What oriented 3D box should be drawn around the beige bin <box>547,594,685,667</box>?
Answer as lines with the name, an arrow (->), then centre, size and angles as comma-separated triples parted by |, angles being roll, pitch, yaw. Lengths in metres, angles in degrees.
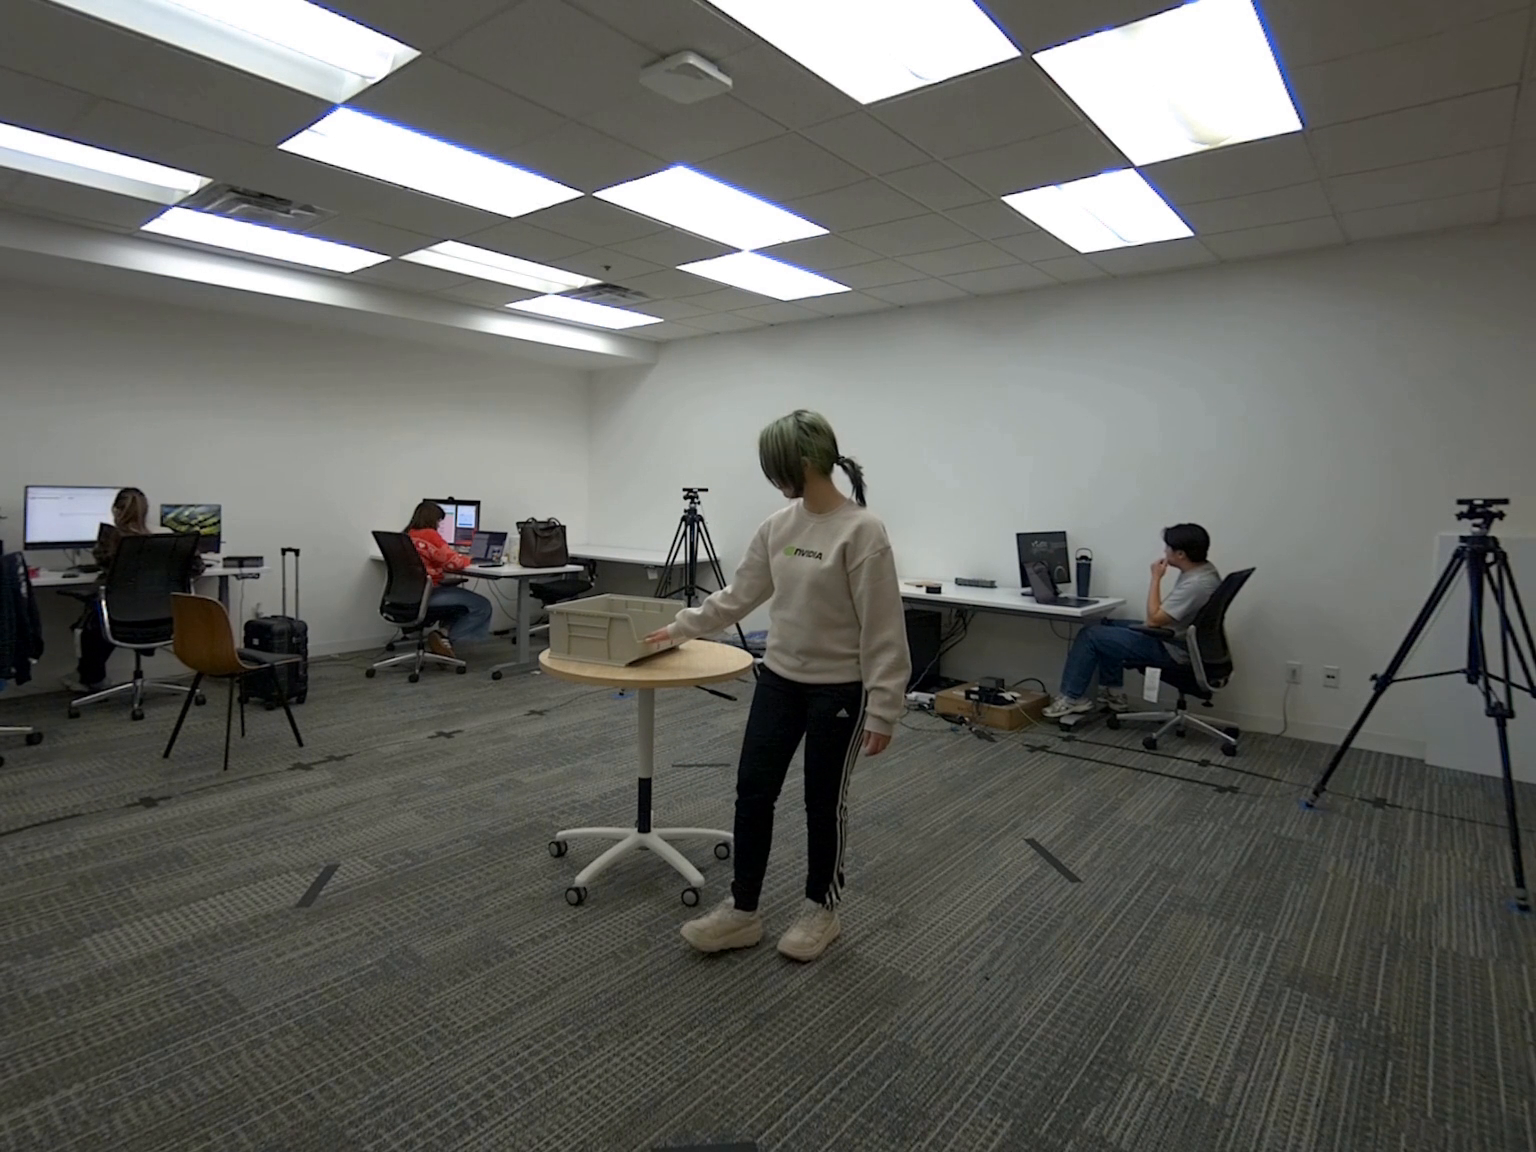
beige bin -> -0.547, 0.189, 3.093 | 0.386, 0.188, 0.414 | 2, 6, 22
